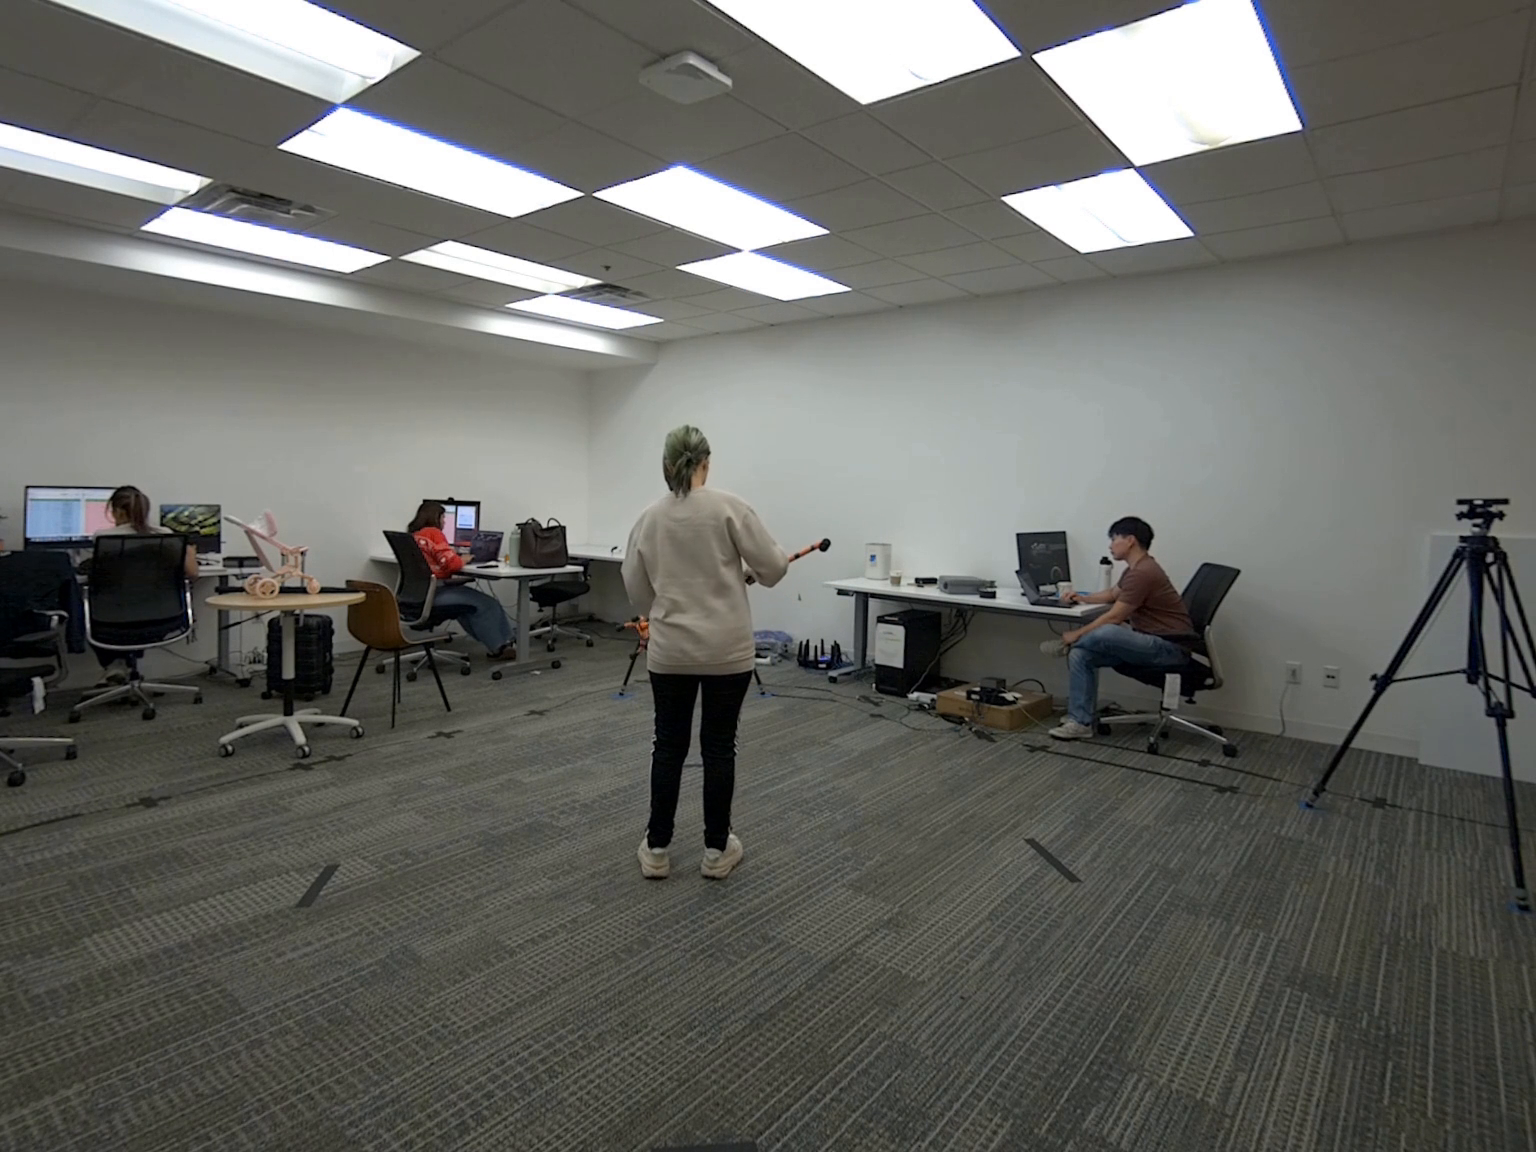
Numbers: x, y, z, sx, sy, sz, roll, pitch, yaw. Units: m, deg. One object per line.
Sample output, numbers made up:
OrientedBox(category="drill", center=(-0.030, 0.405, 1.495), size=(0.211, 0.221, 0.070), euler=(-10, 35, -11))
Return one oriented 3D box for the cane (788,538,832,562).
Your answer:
OrientedBox(category="cane", center=(-0.152, 0.079, 3.394), size=(0.916, 0.151, 0.205), euler=(-23, 3, 15))
